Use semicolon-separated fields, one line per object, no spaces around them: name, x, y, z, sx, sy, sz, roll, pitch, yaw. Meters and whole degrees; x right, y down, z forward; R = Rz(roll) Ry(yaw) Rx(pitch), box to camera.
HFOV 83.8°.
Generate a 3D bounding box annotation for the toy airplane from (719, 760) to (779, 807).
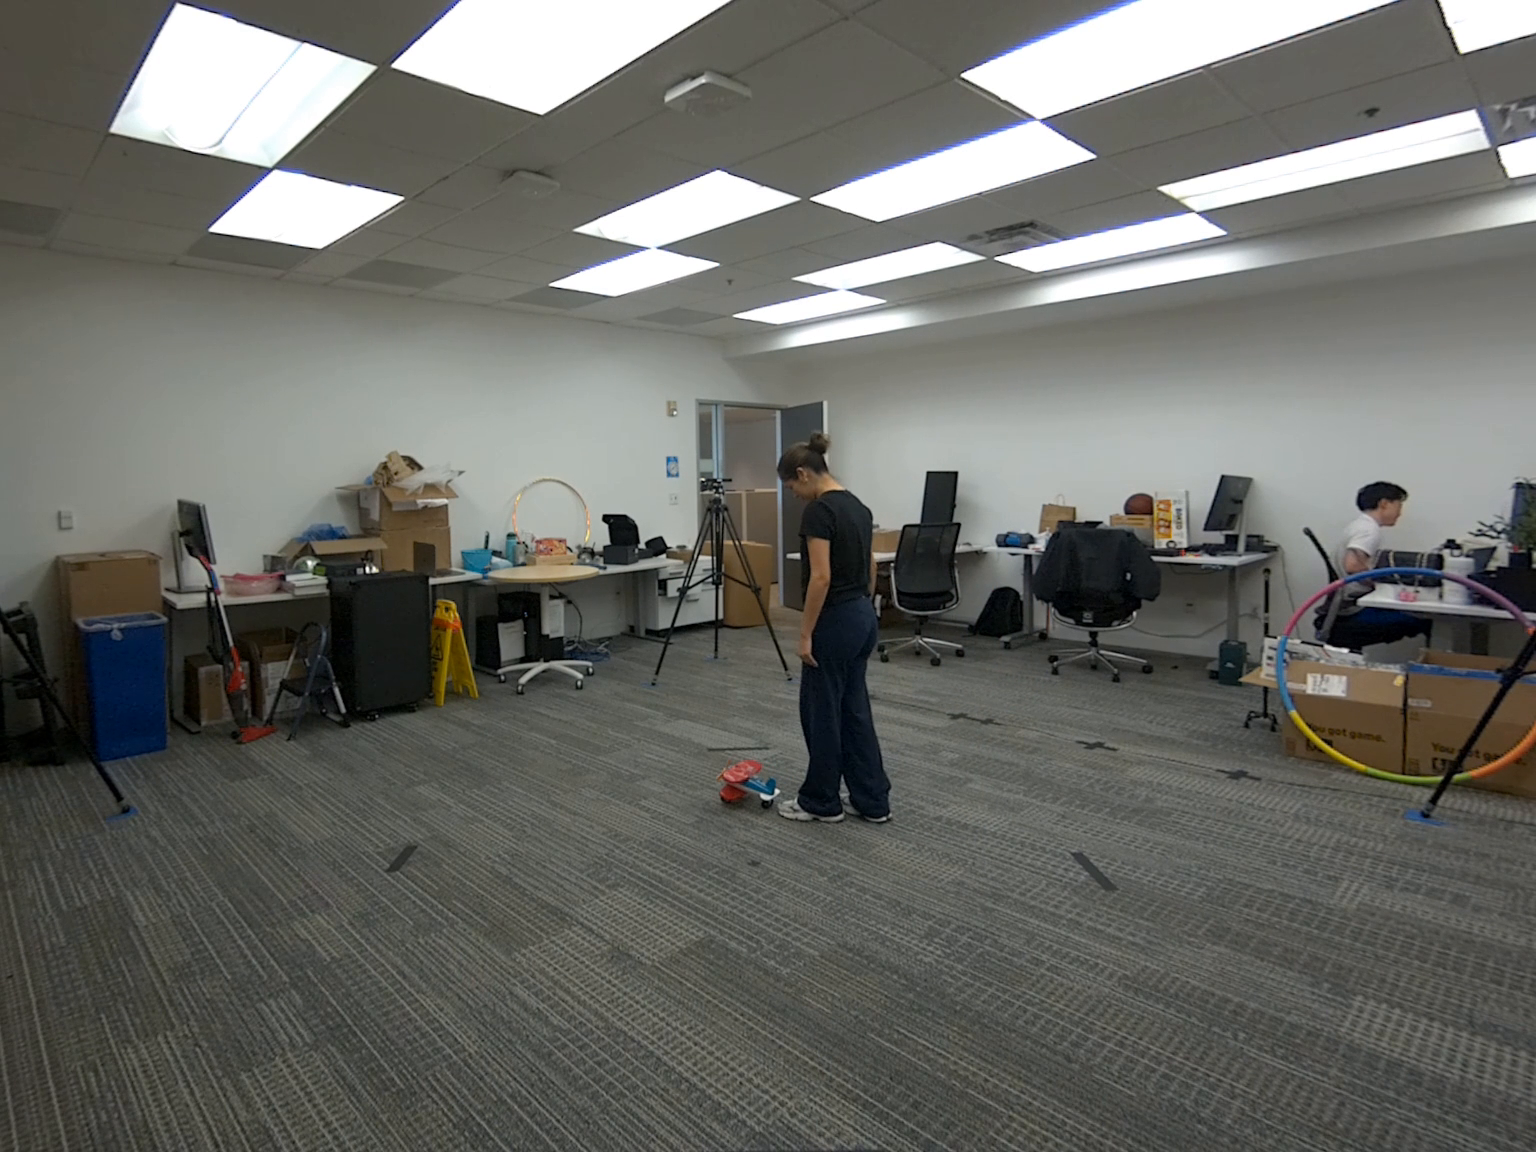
toy airplane;-0.076;0.902;3.718;0.260;0.156;0.251;-2;5;2
